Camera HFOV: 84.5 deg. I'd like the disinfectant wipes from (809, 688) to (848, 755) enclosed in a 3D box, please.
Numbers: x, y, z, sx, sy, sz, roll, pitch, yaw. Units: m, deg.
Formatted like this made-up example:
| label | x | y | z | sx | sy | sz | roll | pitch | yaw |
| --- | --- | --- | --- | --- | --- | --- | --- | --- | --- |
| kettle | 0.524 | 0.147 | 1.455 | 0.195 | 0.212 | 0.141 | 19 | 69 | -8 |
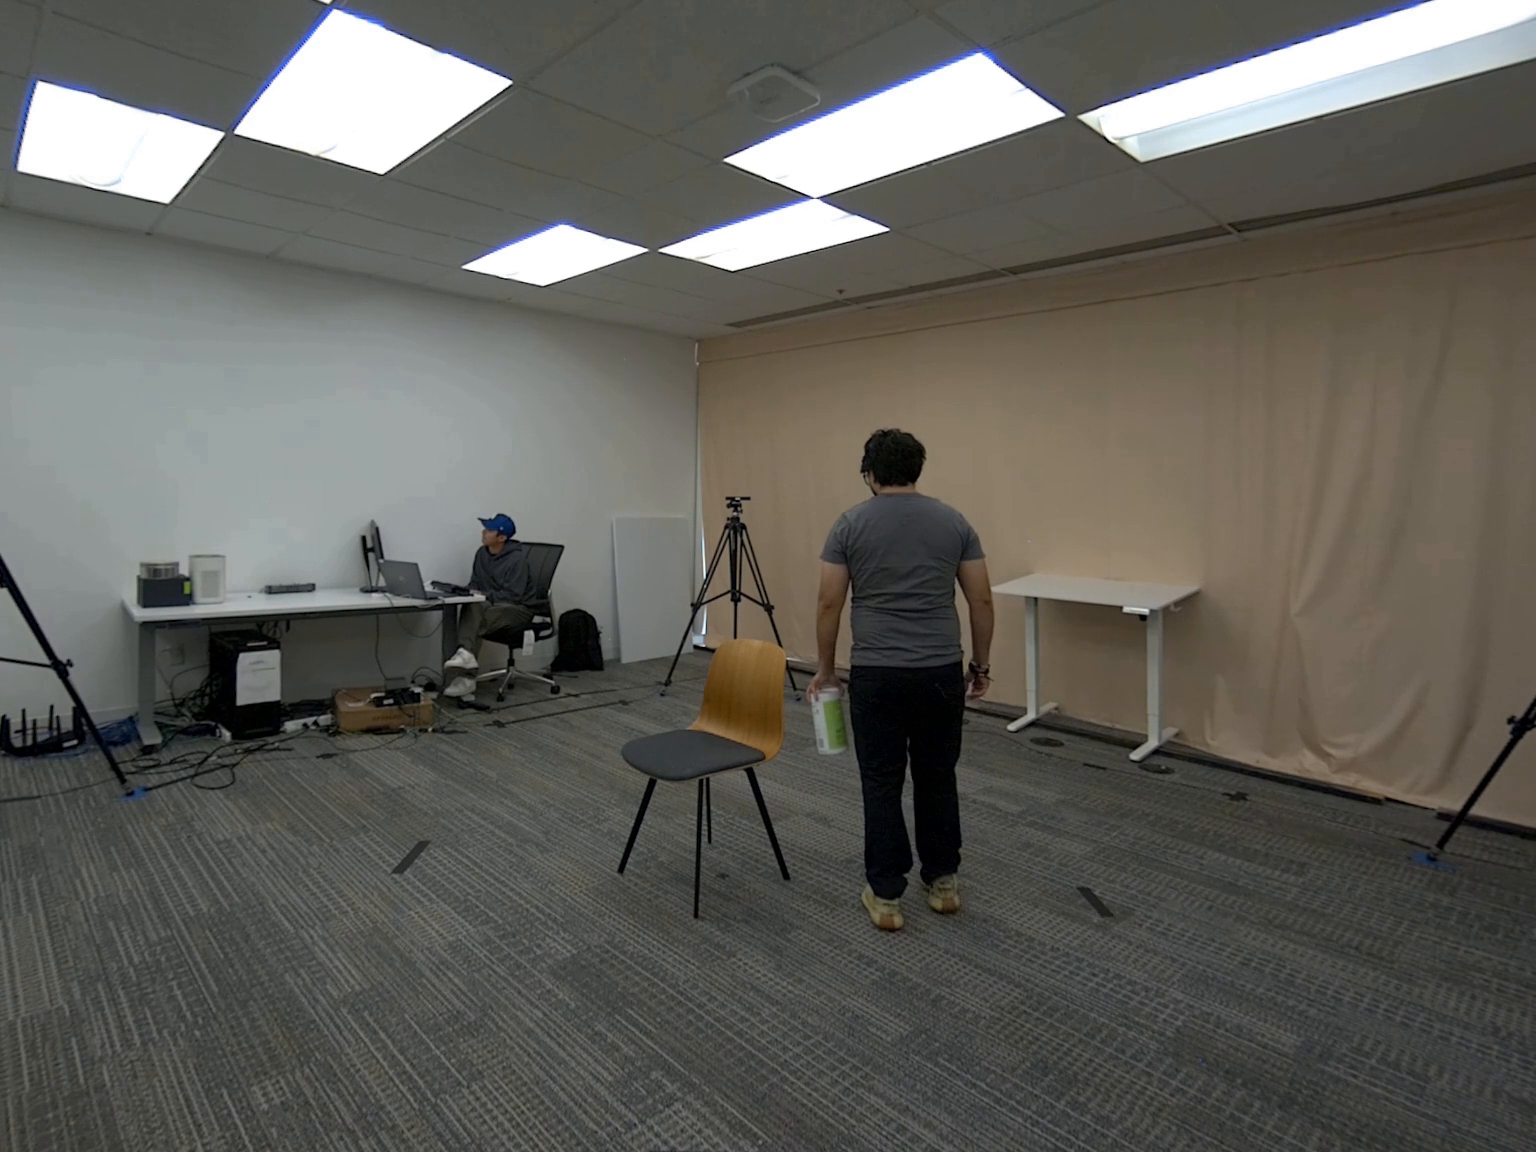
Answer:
| label | x | y | z | sx | sy | sz | roll | pitch | yaw |
| --- | --- | --- | --- | --- | --- | --- | --- | --- | --- |
| disinfectant wipes | 0.218 | 0.515 | 2.954 | 0.118 | 0.217 | 0.118 | -8 | 0 | -1 |
